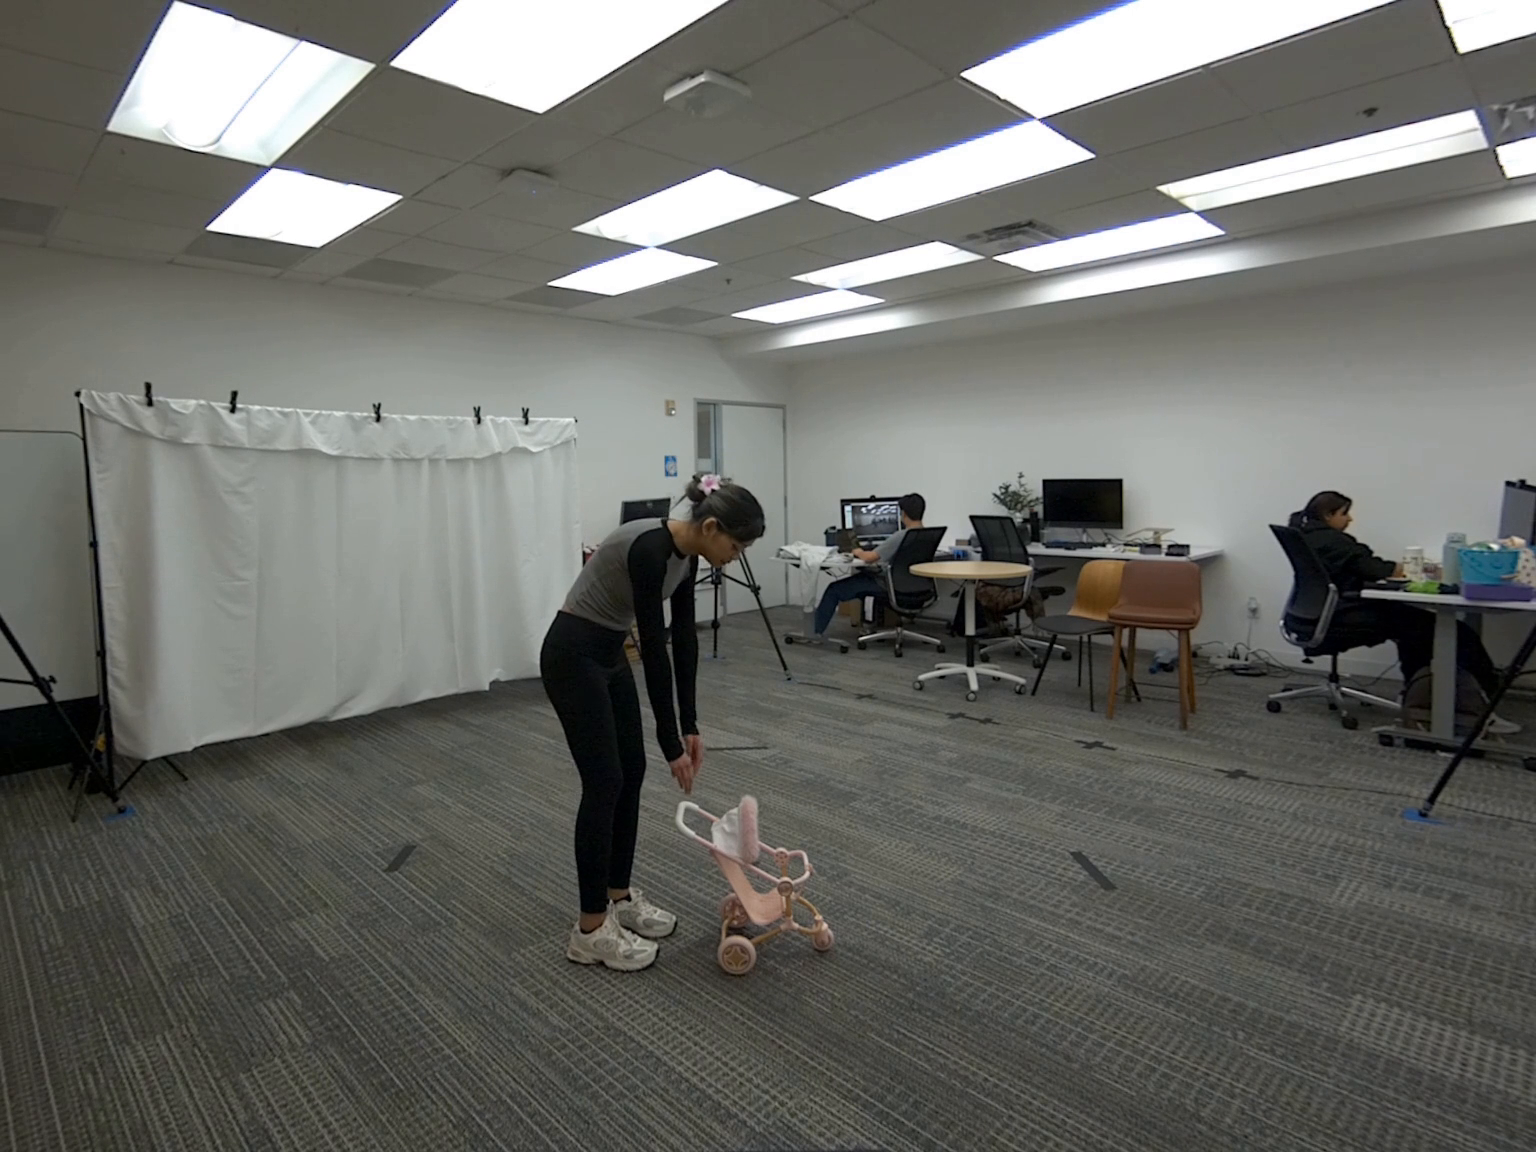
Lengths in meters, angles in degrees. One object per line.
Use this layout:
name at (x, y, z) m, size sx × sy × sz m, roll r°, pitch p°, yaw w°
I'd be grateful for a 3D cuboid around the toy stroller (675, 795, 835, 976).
toy stroller at (-0.032, 0.888, 2.518) m, size 0.343 × 0.533 × 0.281 m, roll -17°, pitch 3°, yaw 5°
